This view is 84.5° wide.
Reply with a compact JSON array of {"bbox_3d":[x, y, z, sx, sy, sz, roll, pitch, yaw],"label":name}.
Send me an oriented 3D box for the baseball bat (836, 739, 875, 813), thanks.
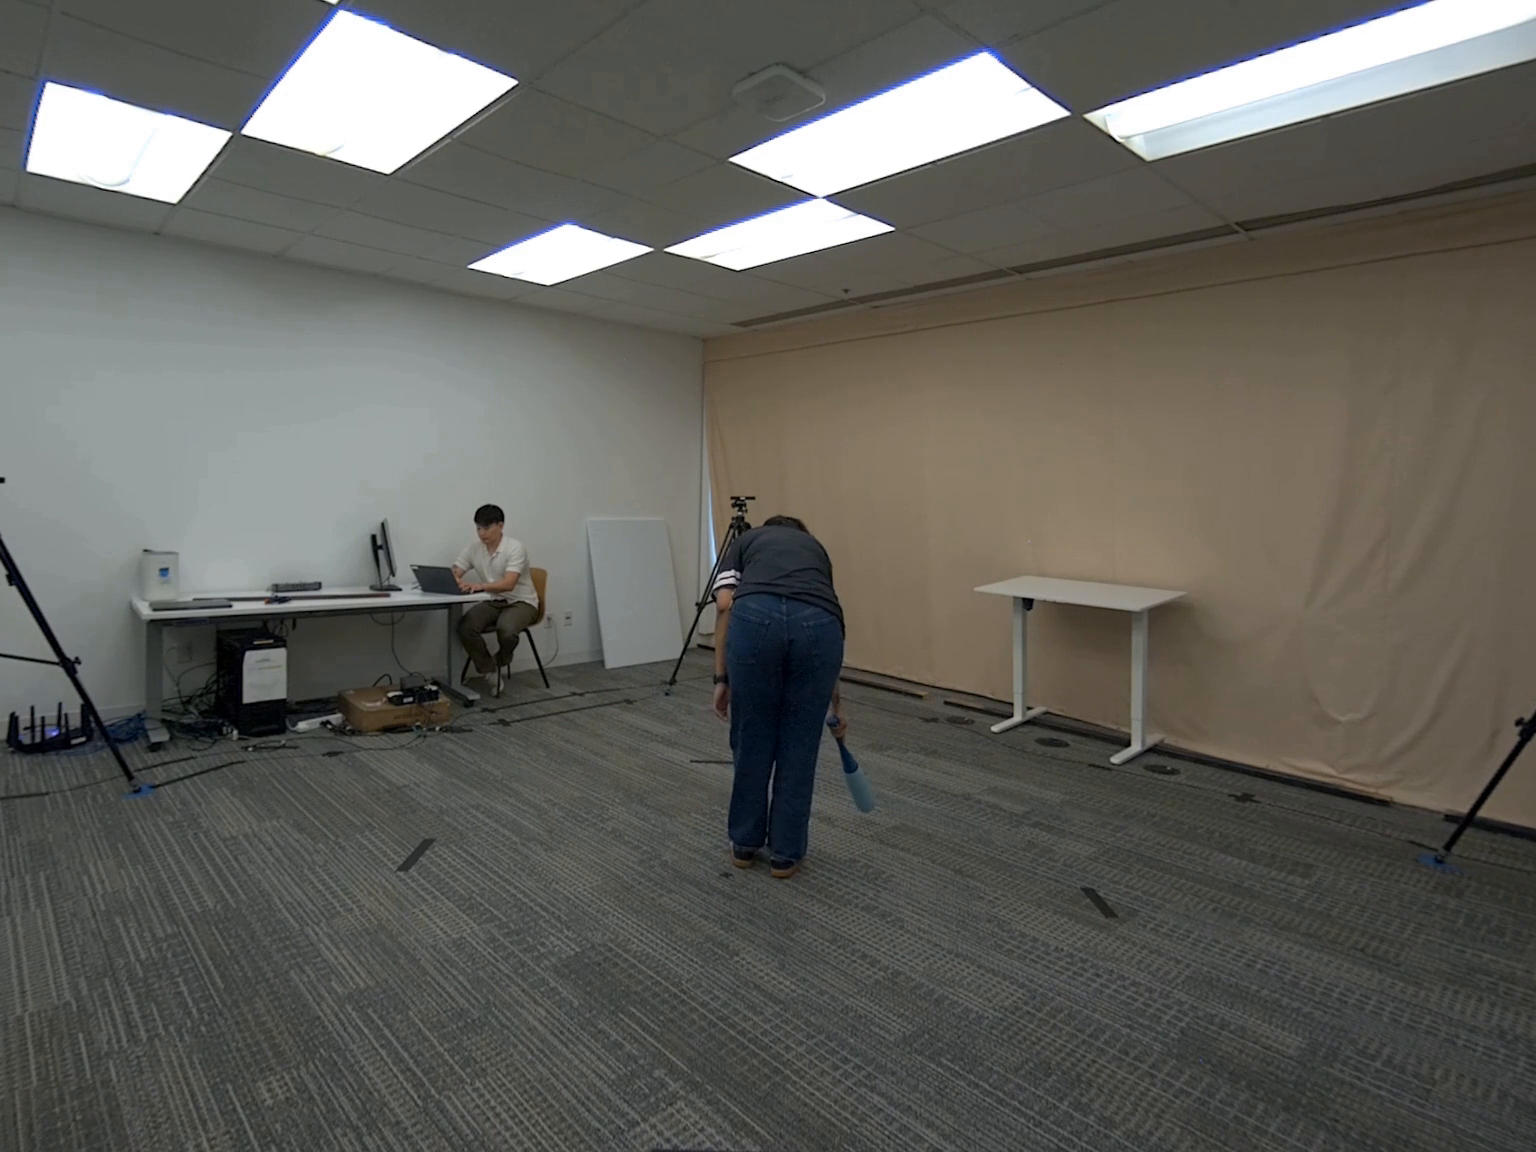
[{"bbox_3d":[0.332,0.798,3.536,0.089,0.529,0.091,-18,29,10],"label":"baseball bat"}]
